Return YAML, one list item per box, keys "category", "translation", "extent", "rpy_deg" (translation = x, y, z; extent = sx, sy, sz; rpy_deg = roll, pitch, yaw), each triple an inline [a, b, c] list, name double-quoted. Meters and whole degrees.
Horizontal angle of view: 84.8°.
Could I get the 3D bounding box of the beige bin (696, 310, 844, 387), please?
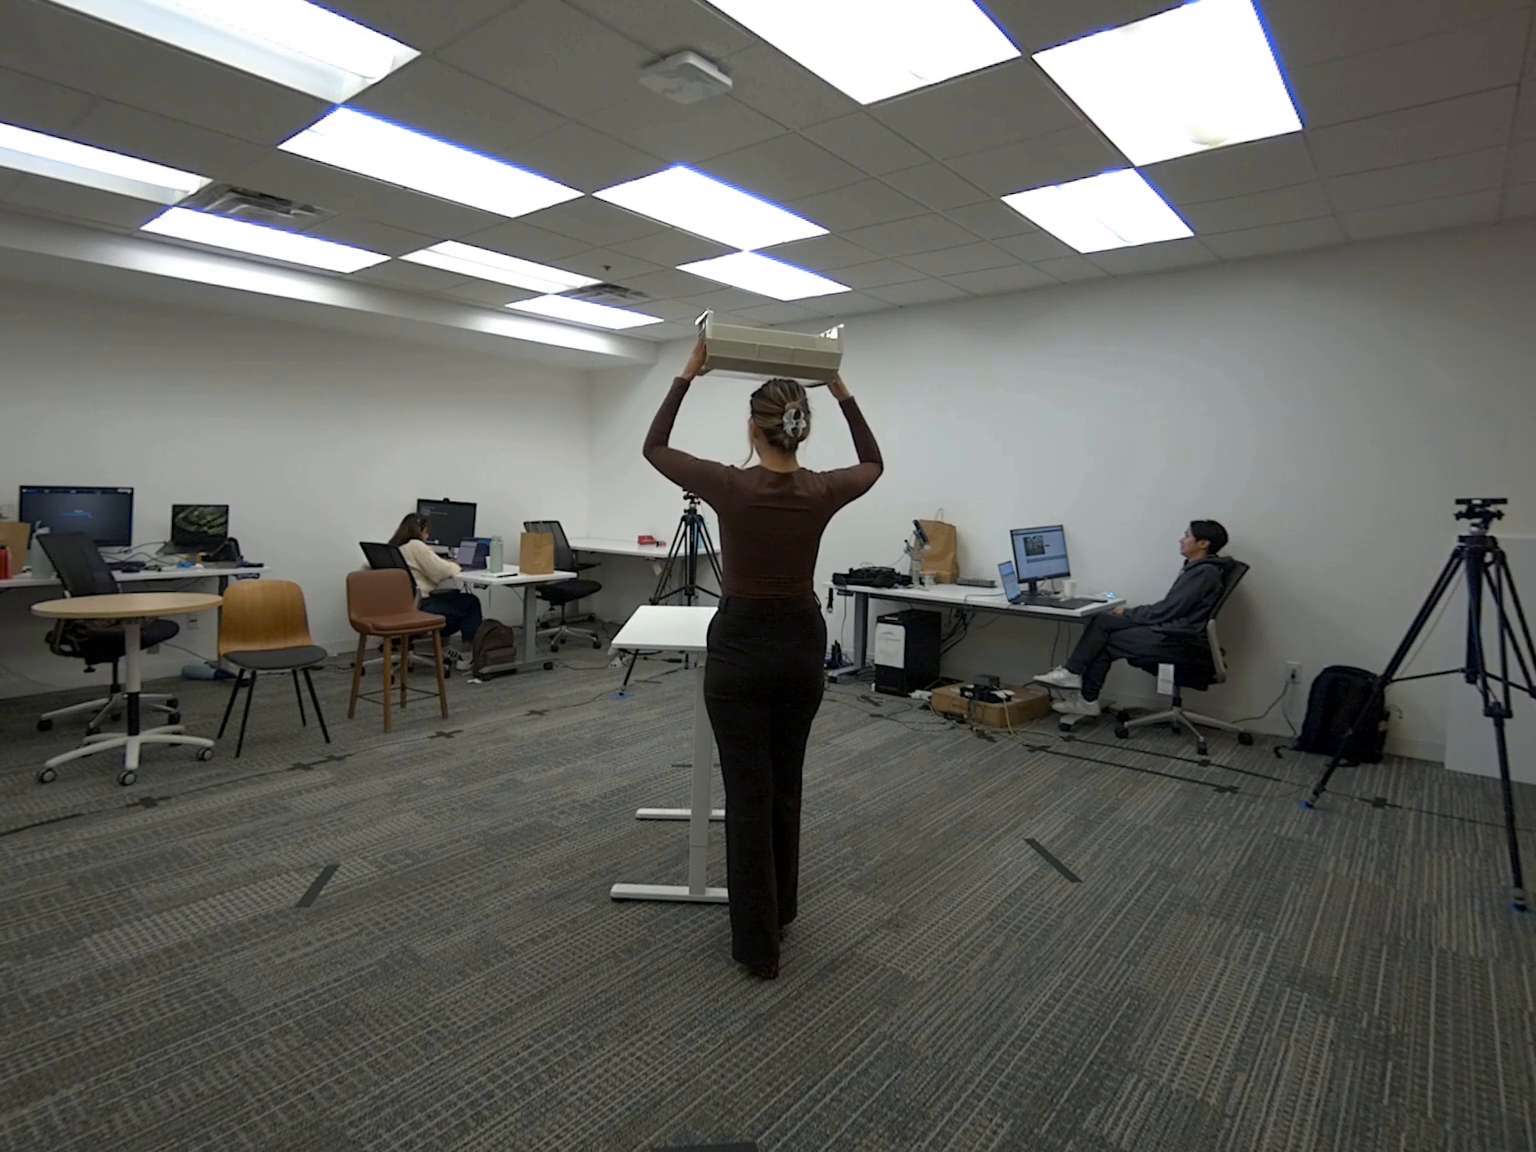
- category: "beige bin"
  translation: [-0.017, -0.720, 2.709]
  extent: [0.418, 0.188, 0.383]
  rpy_deg: [4, 6, -10]
